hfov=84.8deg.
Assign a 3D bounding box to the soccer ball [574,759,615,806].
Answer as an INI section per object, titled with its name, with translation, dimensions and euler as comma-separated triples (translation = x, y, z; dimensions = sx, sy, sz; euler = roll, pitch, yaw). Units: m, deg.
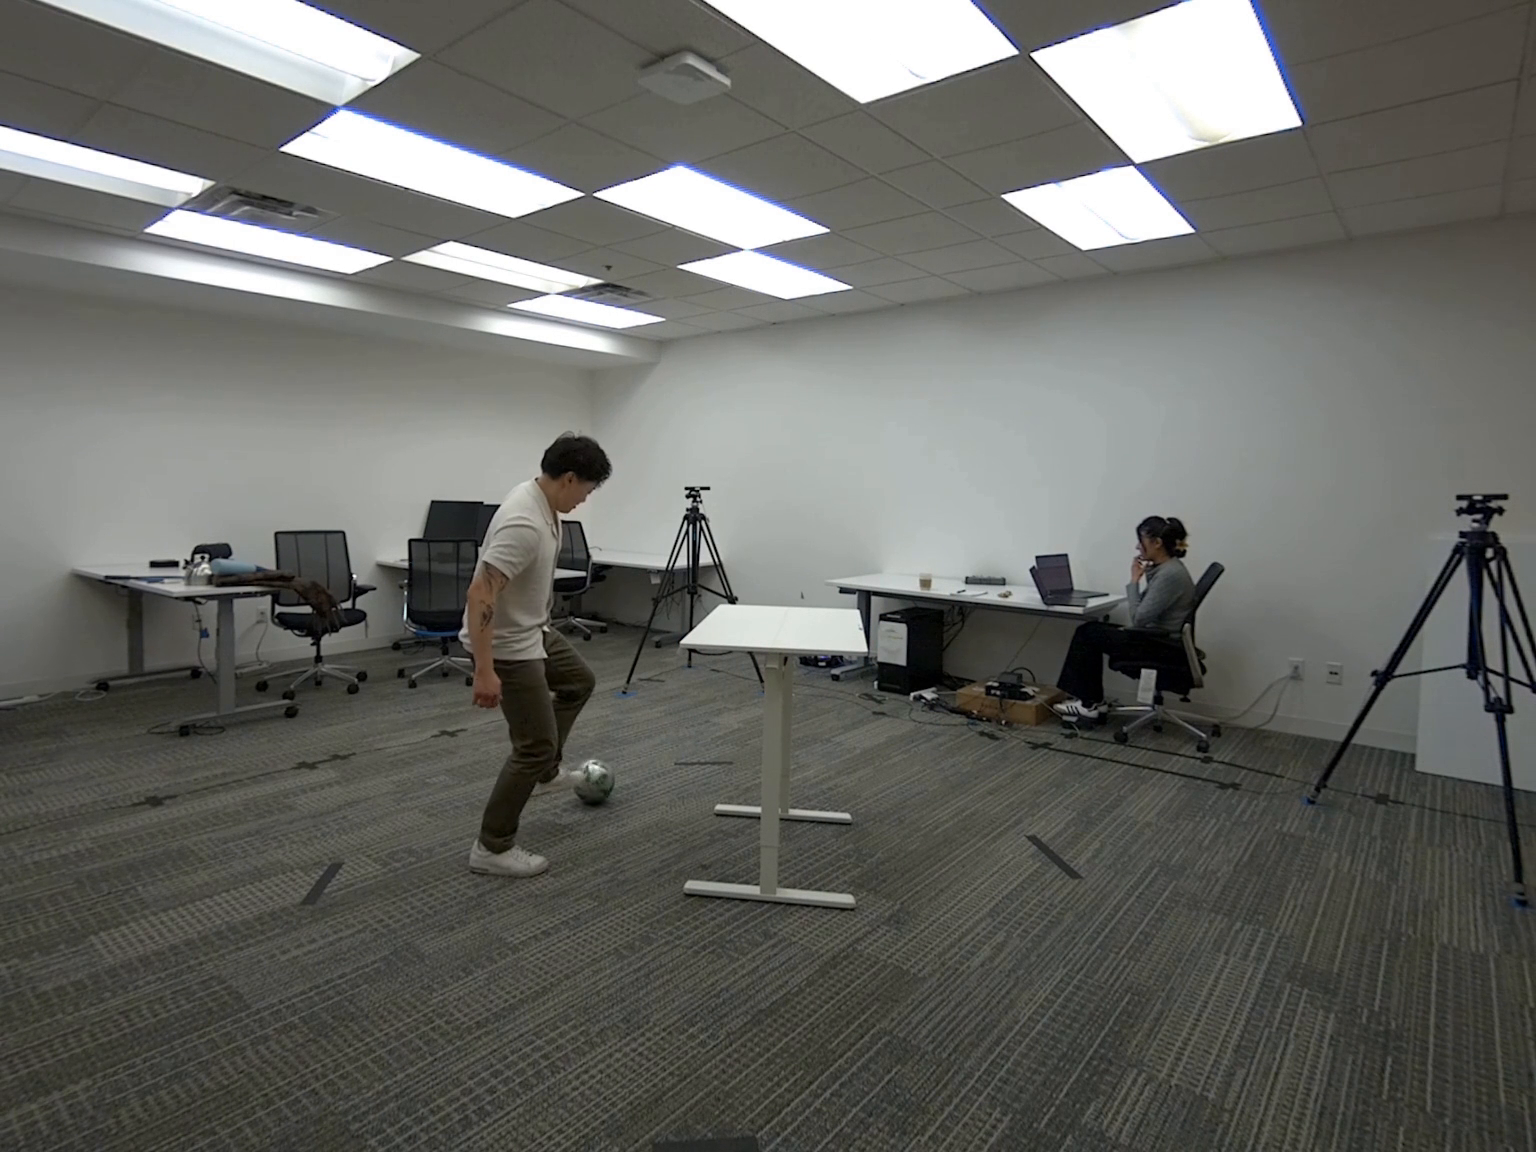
[soccer ball]
translation = -0.785, 0.902, 3.751
dimensions = 0.187, 0.187, 0.188
euler = 1, 4, -2
